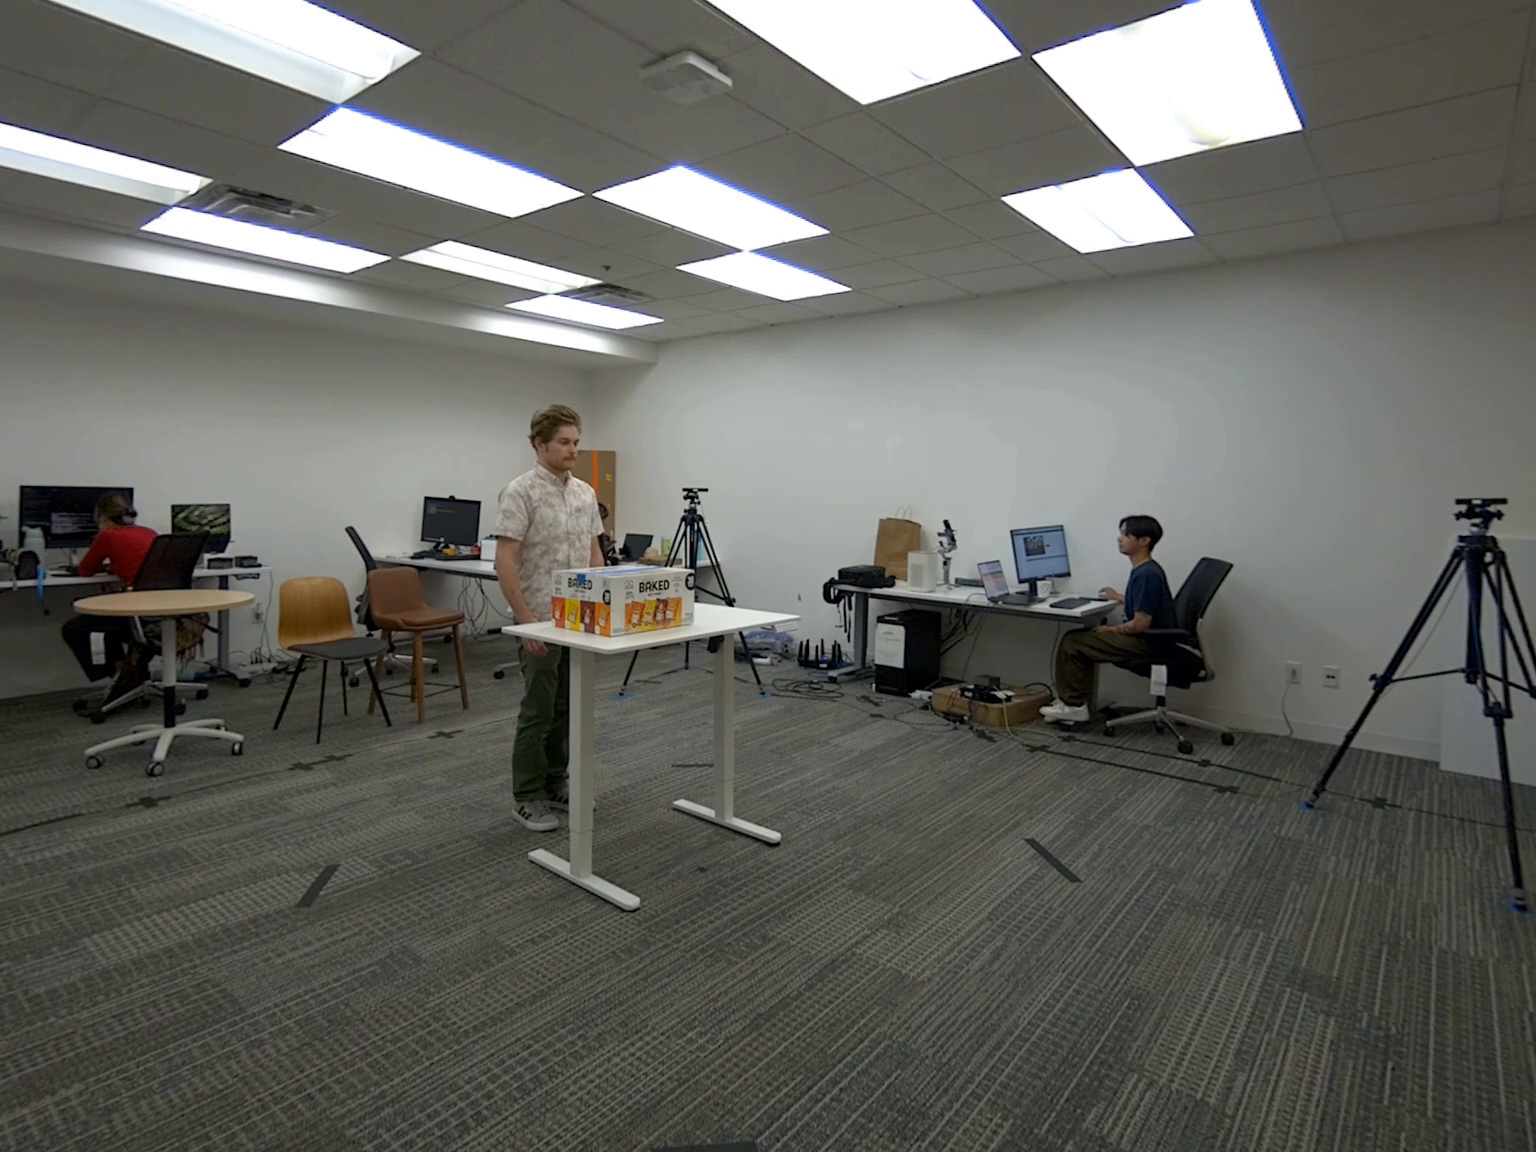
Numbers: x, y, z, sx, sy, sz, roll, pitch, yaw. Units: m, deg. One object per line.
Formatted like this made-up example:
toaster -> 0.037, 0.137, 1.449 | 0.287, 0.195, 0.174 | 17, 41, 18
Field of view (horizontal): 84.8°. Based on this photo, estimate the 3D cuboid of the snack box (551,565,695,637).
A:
snack box -> -0.541, 0.078, 3.127 | 0.352, 0.205, 0.393 | 5, 7, 41
